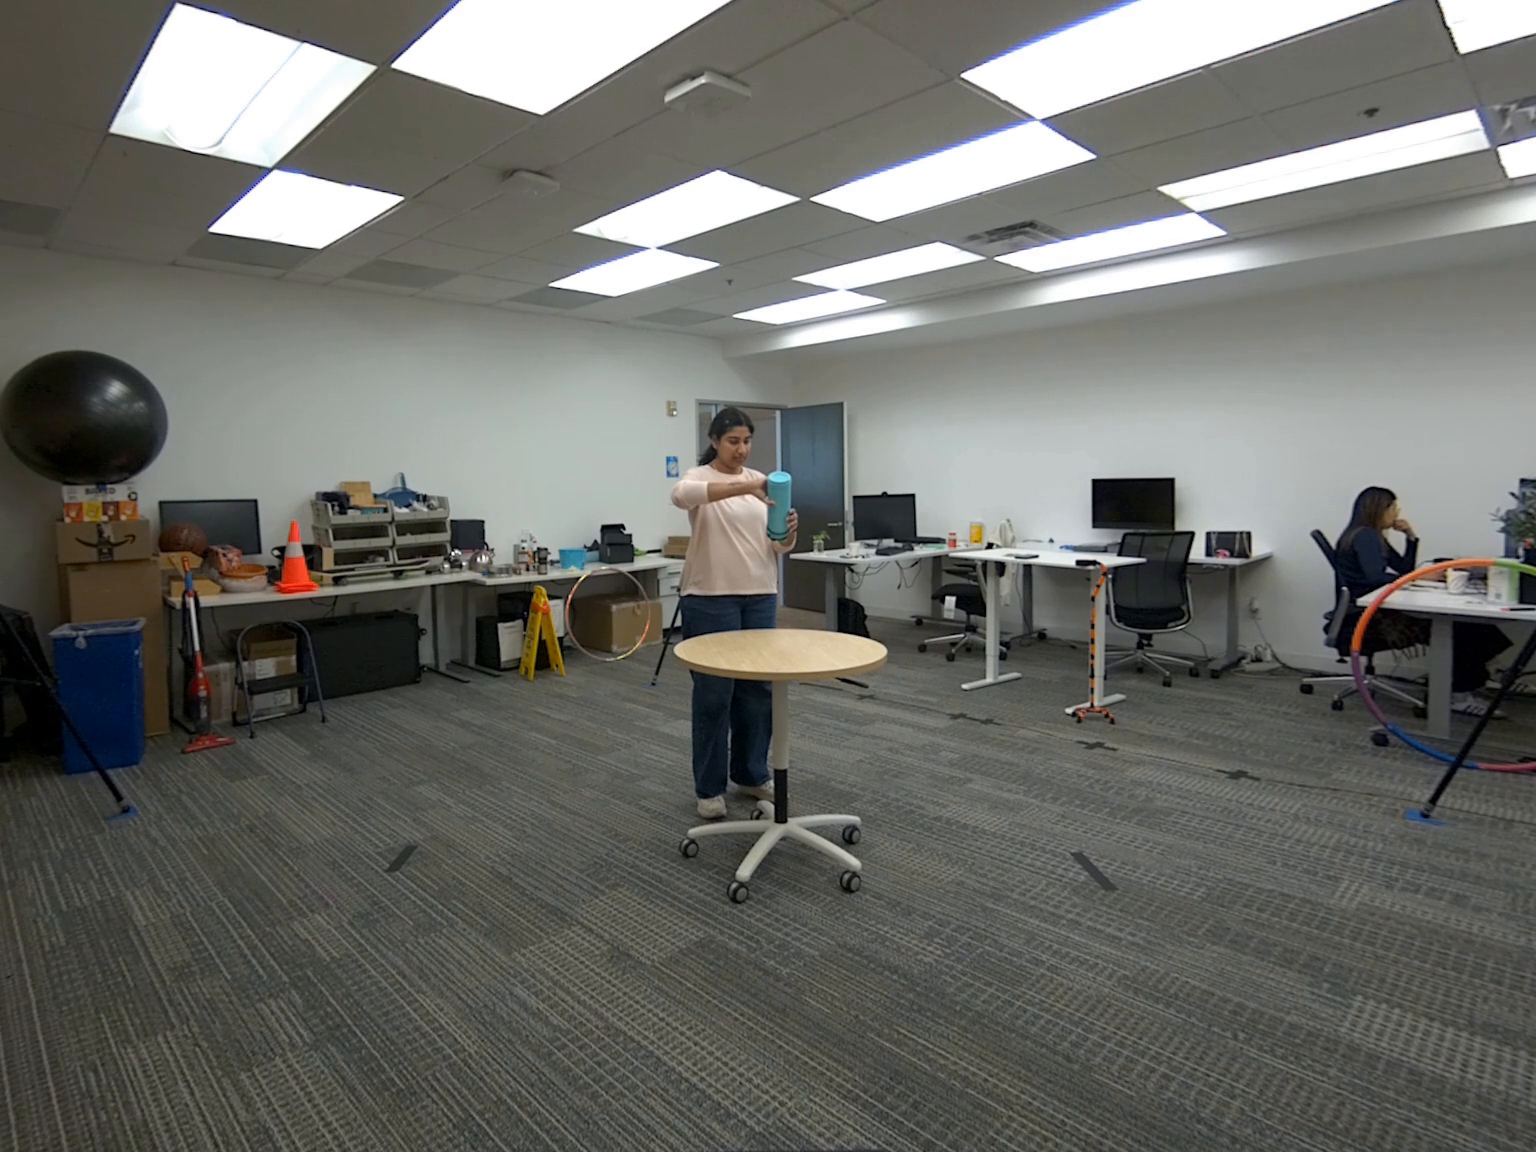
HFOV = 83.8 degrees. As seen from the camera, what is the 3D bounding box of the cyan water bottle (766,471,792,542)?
[{"bbox_3d":[0.042,-0.258,3.323,0.092,0.277,0.094,0,31,-2],"label":"cyan water bottle"}]
